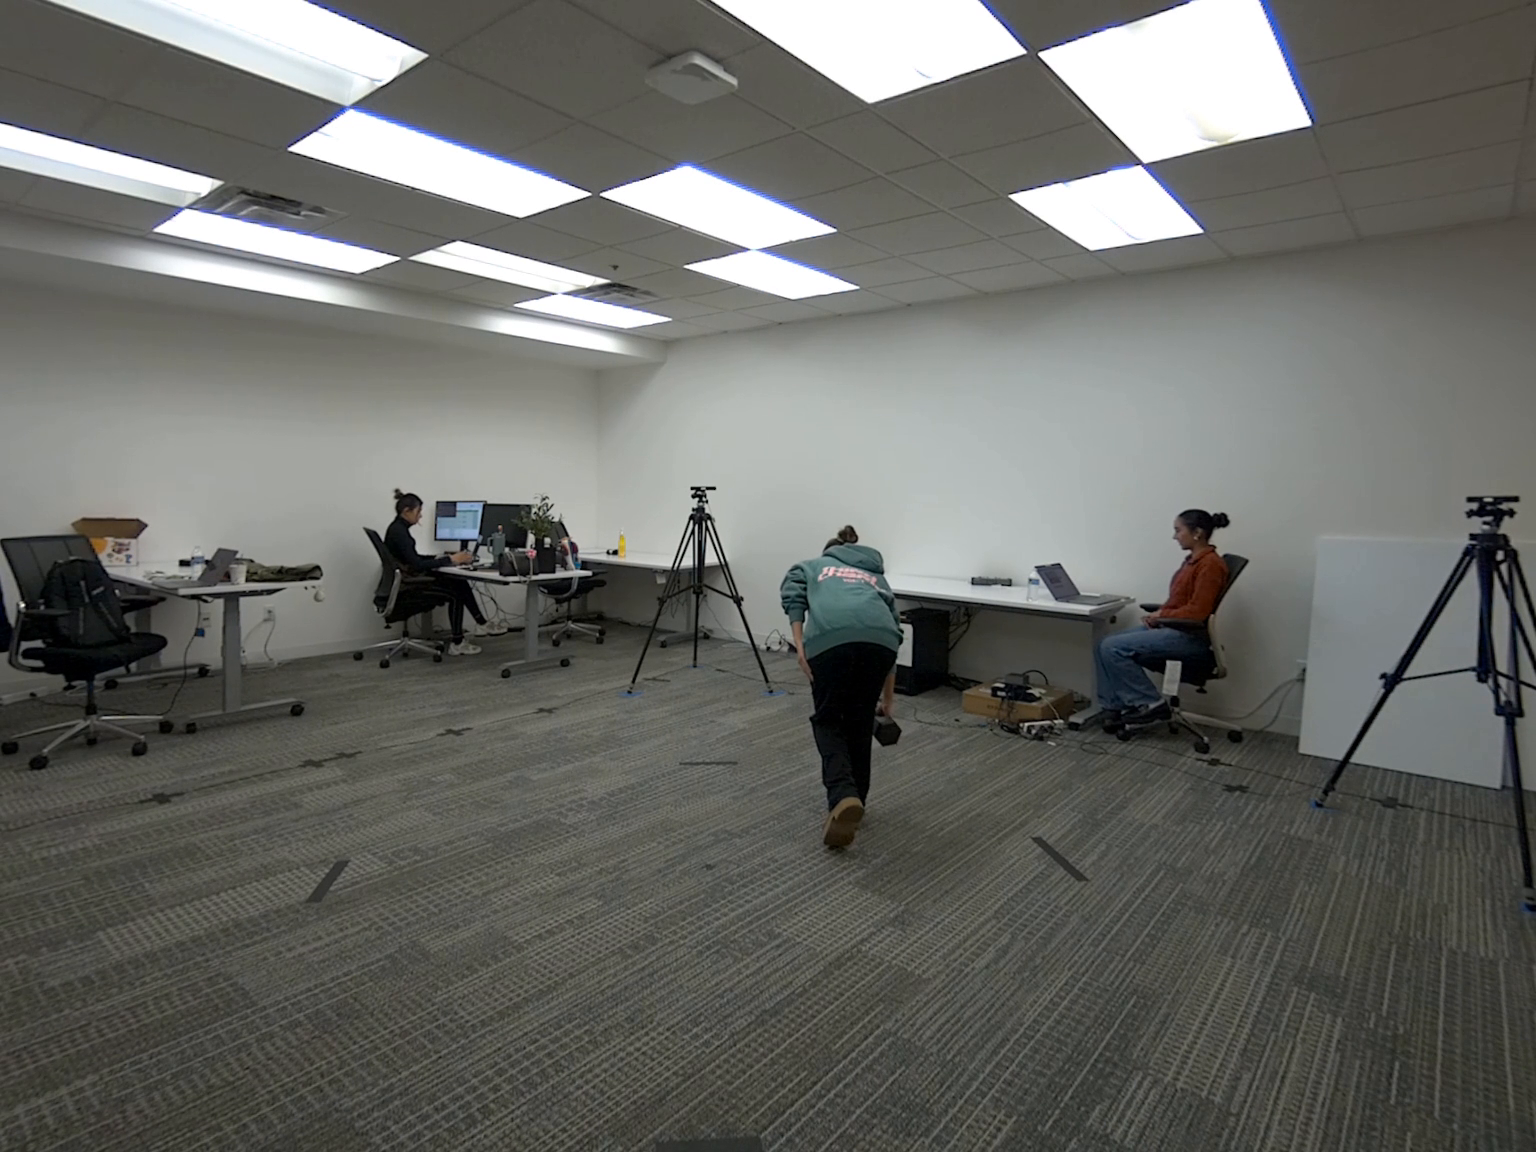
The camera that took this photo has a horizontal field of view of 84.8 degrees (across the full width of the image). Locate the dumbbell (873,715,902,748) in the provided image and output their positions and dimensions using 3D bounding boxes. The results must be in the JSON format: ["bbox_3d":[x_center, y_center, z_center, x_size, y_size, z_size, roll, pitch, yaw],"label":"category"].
[{"bbox_3d":[0.470,0.636,3.699,0.107,0.123,0.298,22,4,-12],"label":"dumbbell"}]
